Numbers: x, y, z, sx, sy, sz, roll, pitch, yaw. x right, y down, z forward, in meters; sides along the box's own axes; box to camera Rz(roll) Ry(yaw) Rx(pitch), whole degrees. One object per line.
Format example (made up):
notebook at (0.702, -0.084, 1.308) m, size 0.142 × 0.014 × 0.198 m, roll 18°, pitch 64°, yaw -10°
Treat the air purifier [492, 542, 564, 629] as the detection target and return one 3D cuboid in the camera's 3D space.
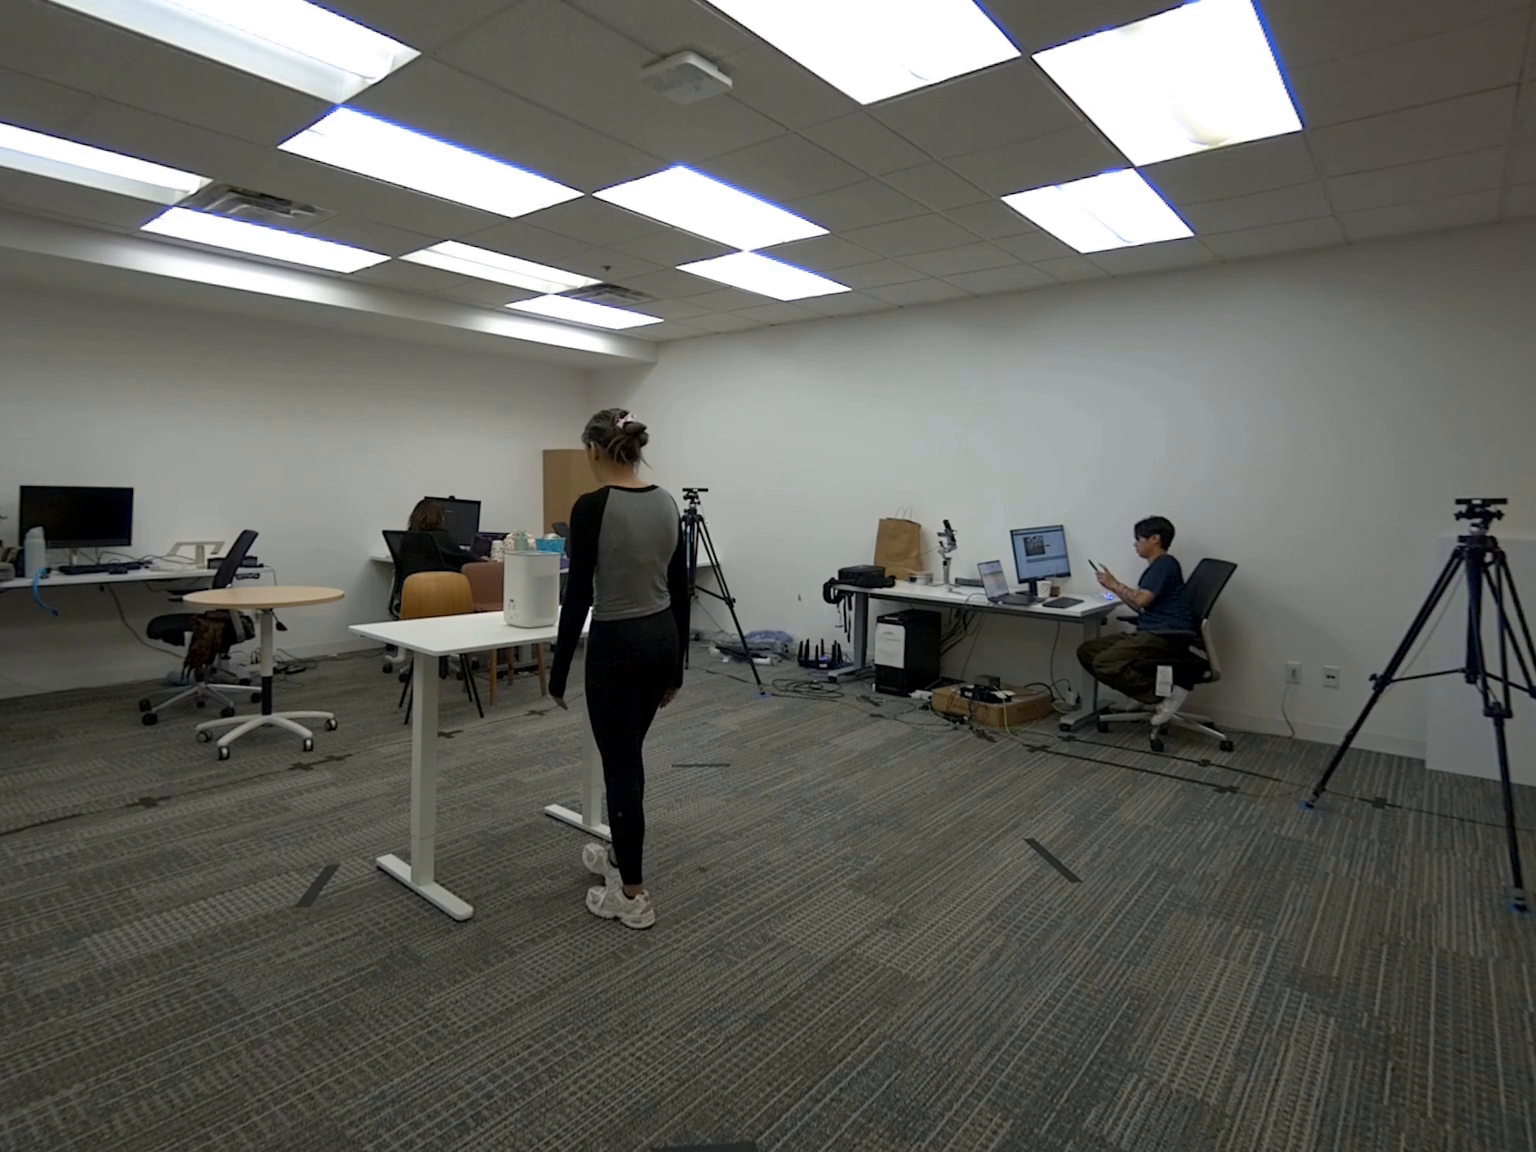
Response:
air purifier at (-0.880, 0.046, 3.108) m, size 0.177 × 0.265 × 0.166 m, roll 3°, pitch 3°, yaw 39°
